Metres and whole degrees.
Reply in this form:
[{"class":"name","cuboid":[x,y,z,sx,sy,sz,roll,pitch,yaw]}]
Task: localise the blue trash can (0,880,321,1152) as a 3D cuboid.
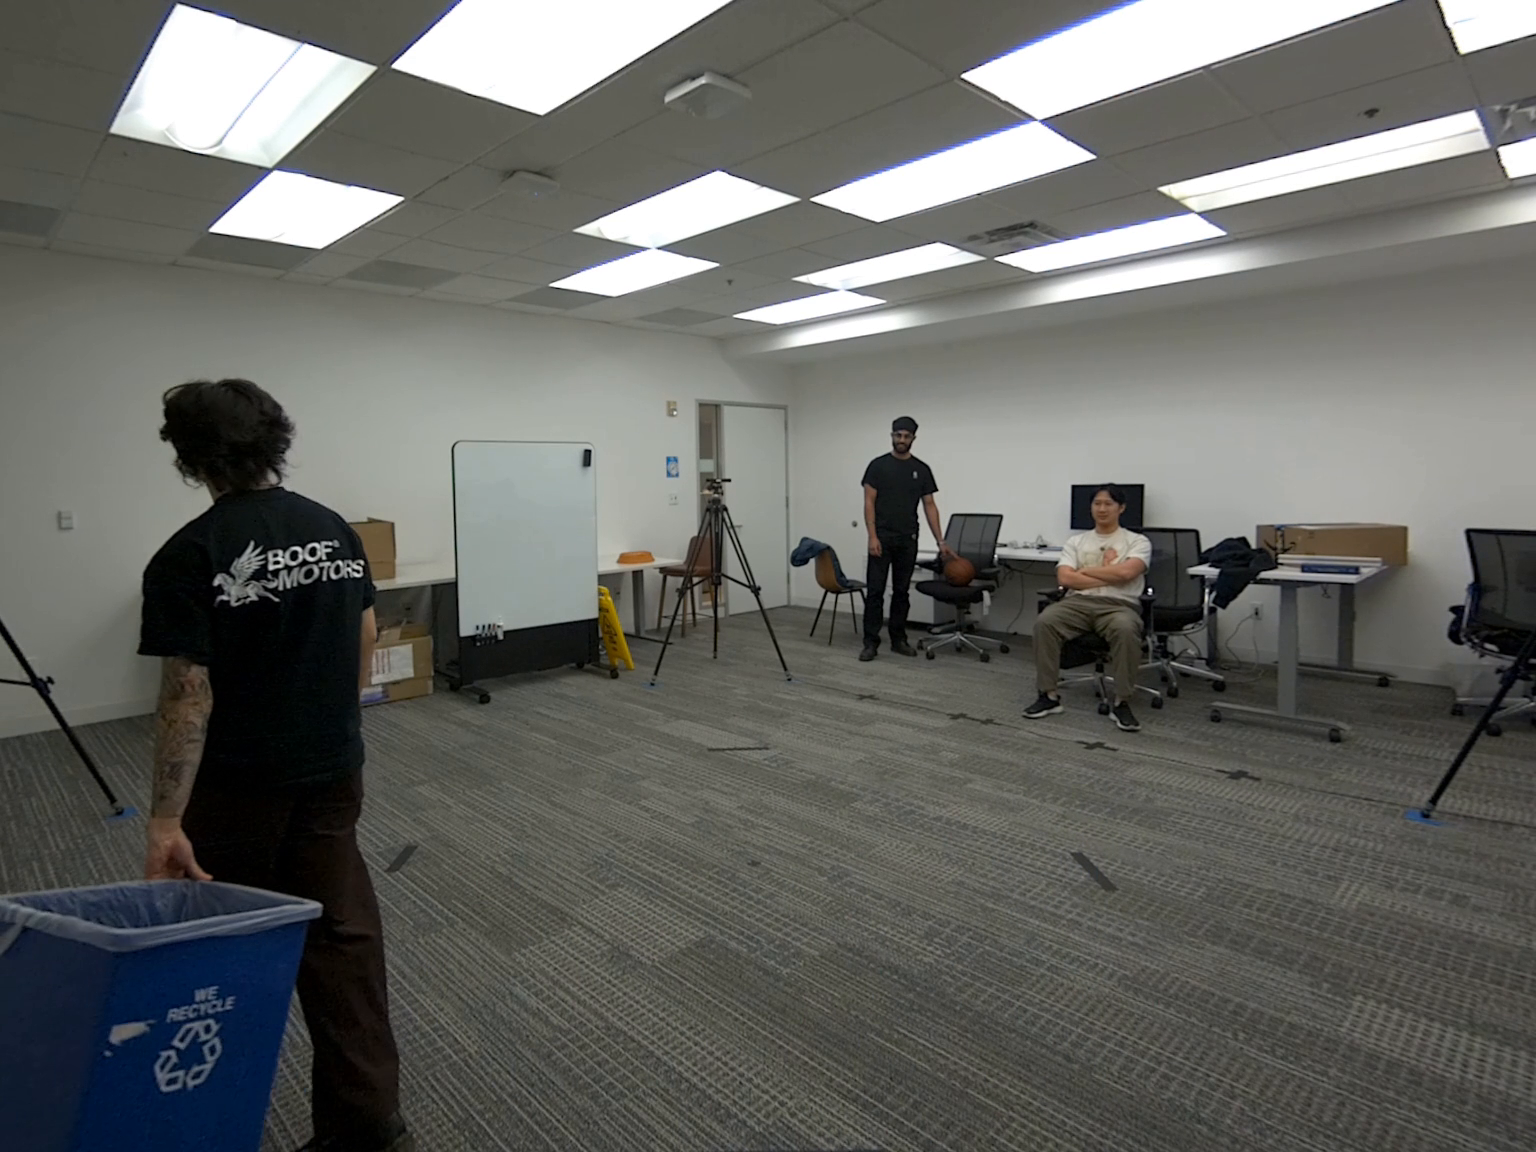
[{"class":"blue trash can","cuboid":[-0.999,0.888,1.323,0.385,0.721,0.363,-1,-14,21]}]
